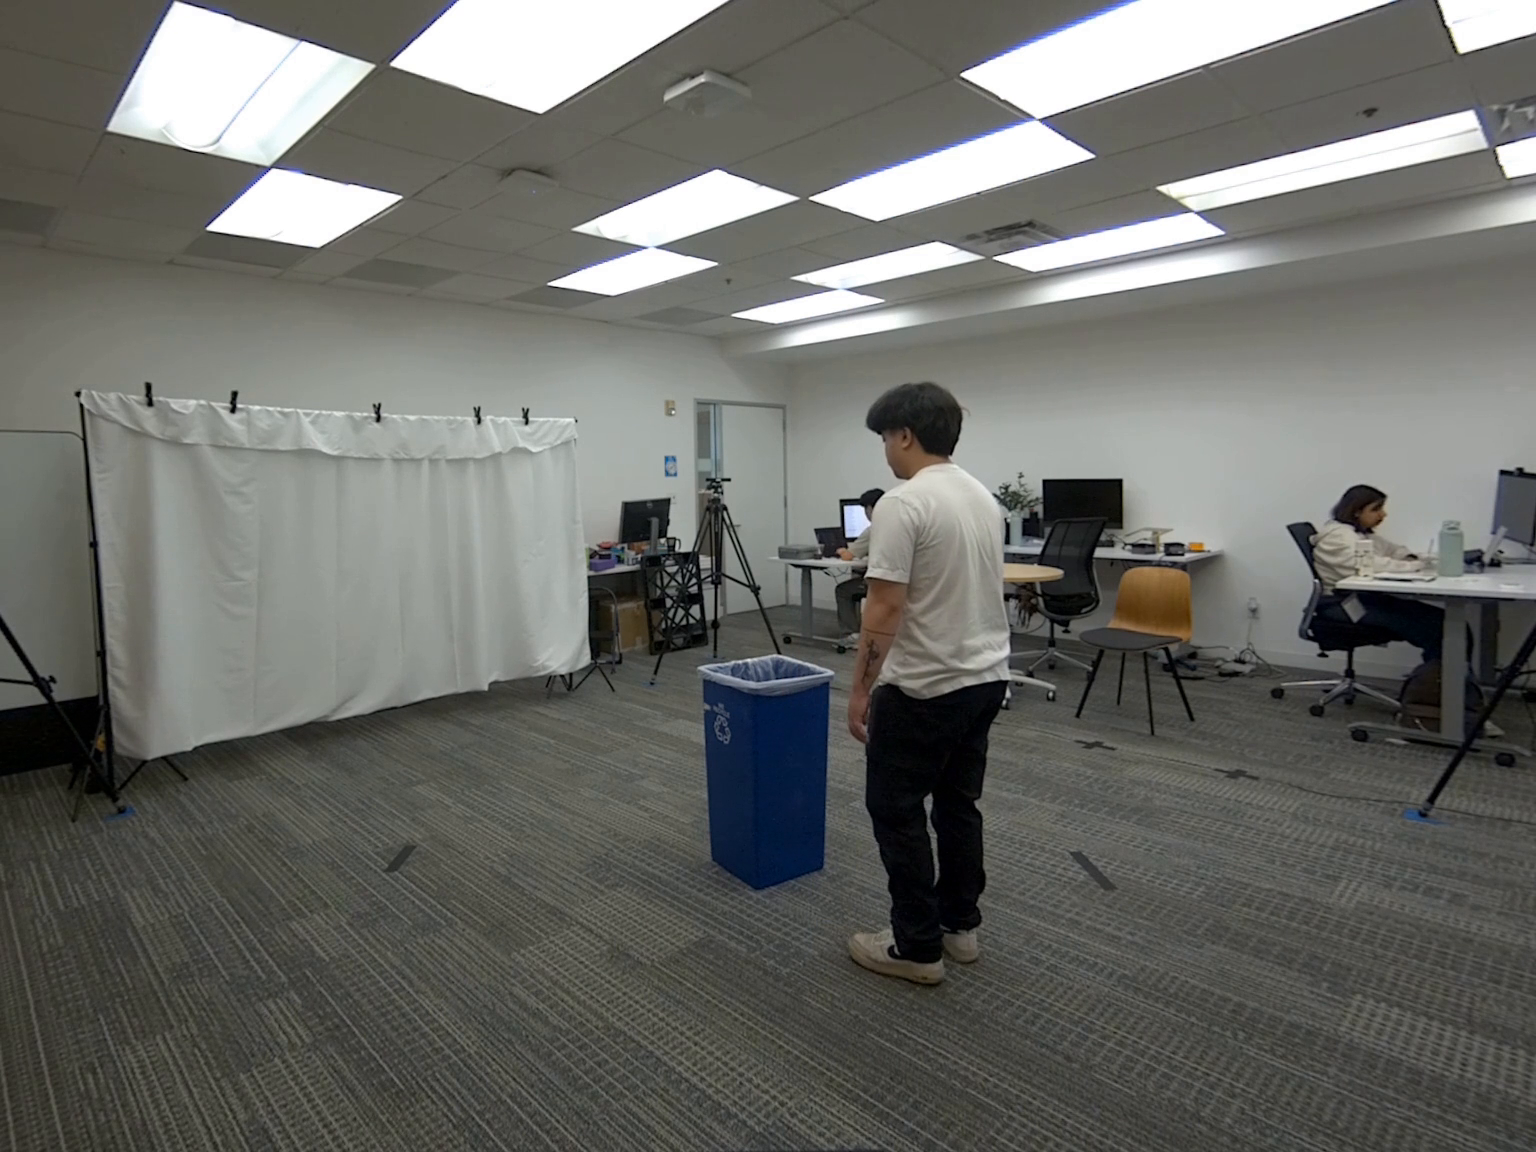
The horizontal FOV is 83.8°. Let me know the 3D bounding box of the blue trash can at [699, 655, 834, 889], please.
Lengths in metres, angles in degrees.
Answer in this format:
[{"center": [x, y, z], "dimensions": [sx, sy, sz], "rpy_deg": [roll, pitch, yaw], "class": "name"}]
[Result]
[{"center": [0.000, 0.687, 3.070], "dimensions": [0.368, 0.711, 0.385], "rpy_deg": [-4, 5, -35], "class": "blue trash can"}]
